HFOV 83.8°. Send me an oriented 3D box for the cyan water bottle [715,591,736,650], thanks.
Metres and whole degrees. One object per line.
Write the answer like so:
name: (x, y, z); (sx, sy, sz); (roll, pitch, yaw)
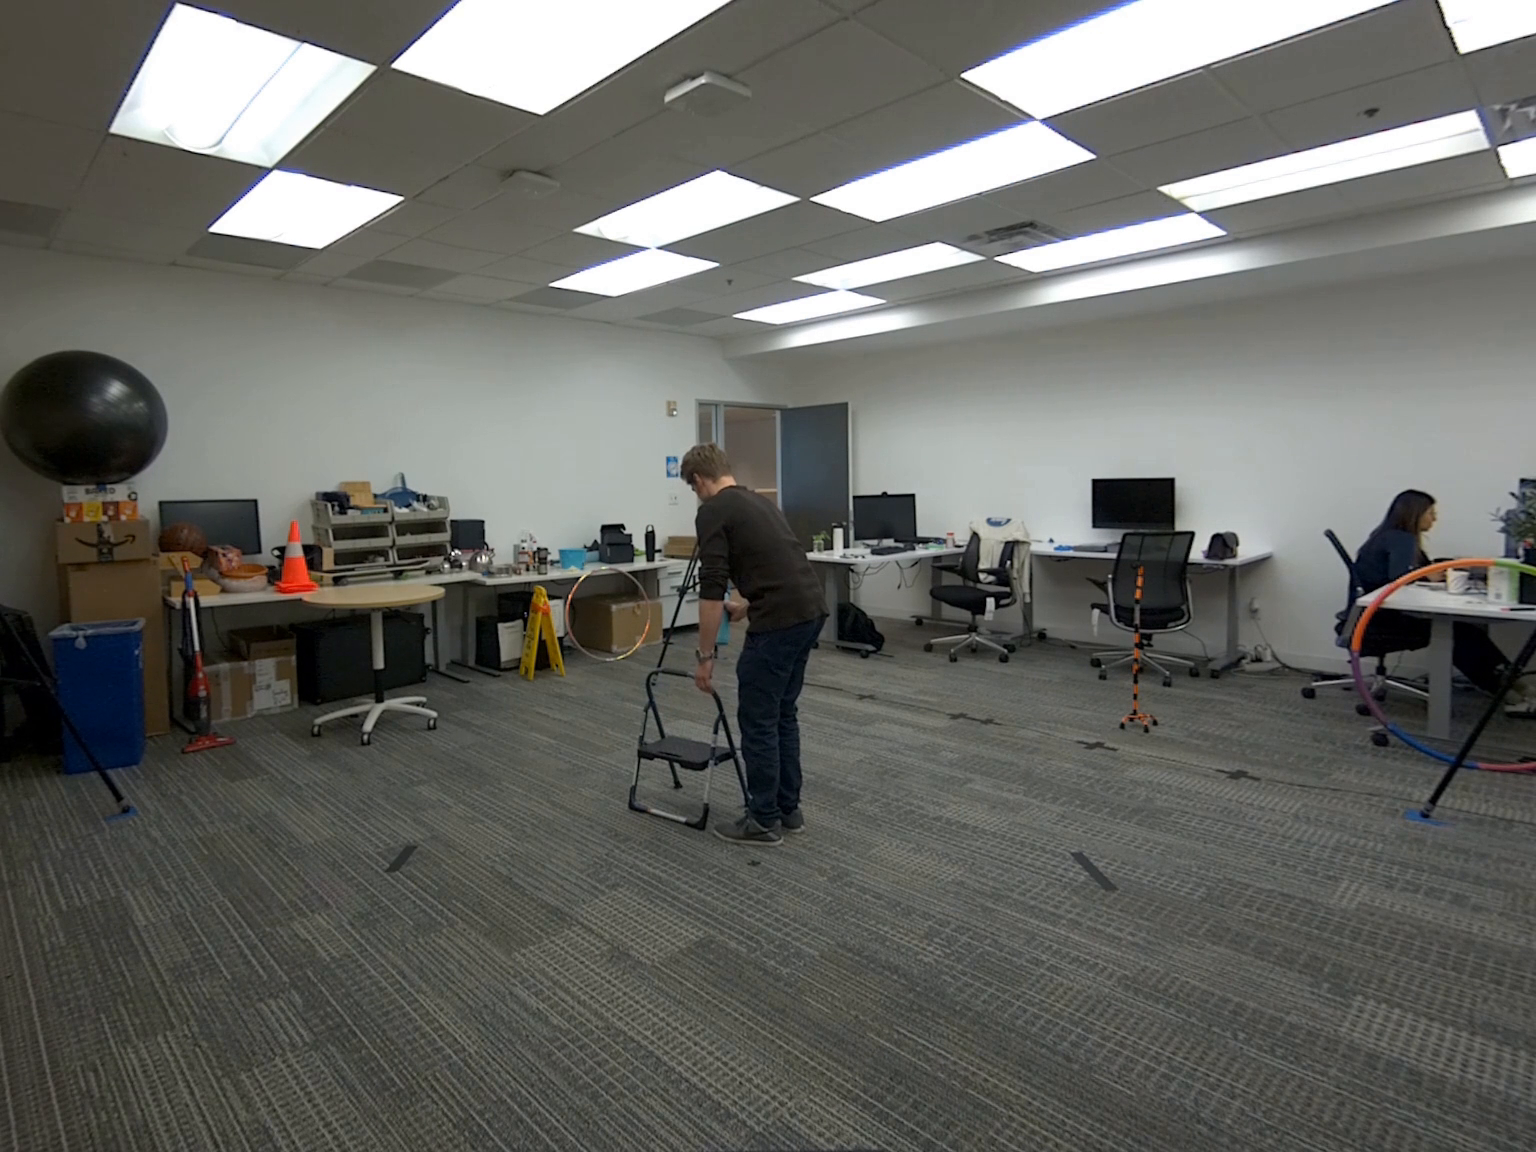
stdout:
cyan water bottle: (-0.211, 0.162, 3.772); (0.092, 0.288, 0.091); (2, -20, -1)
